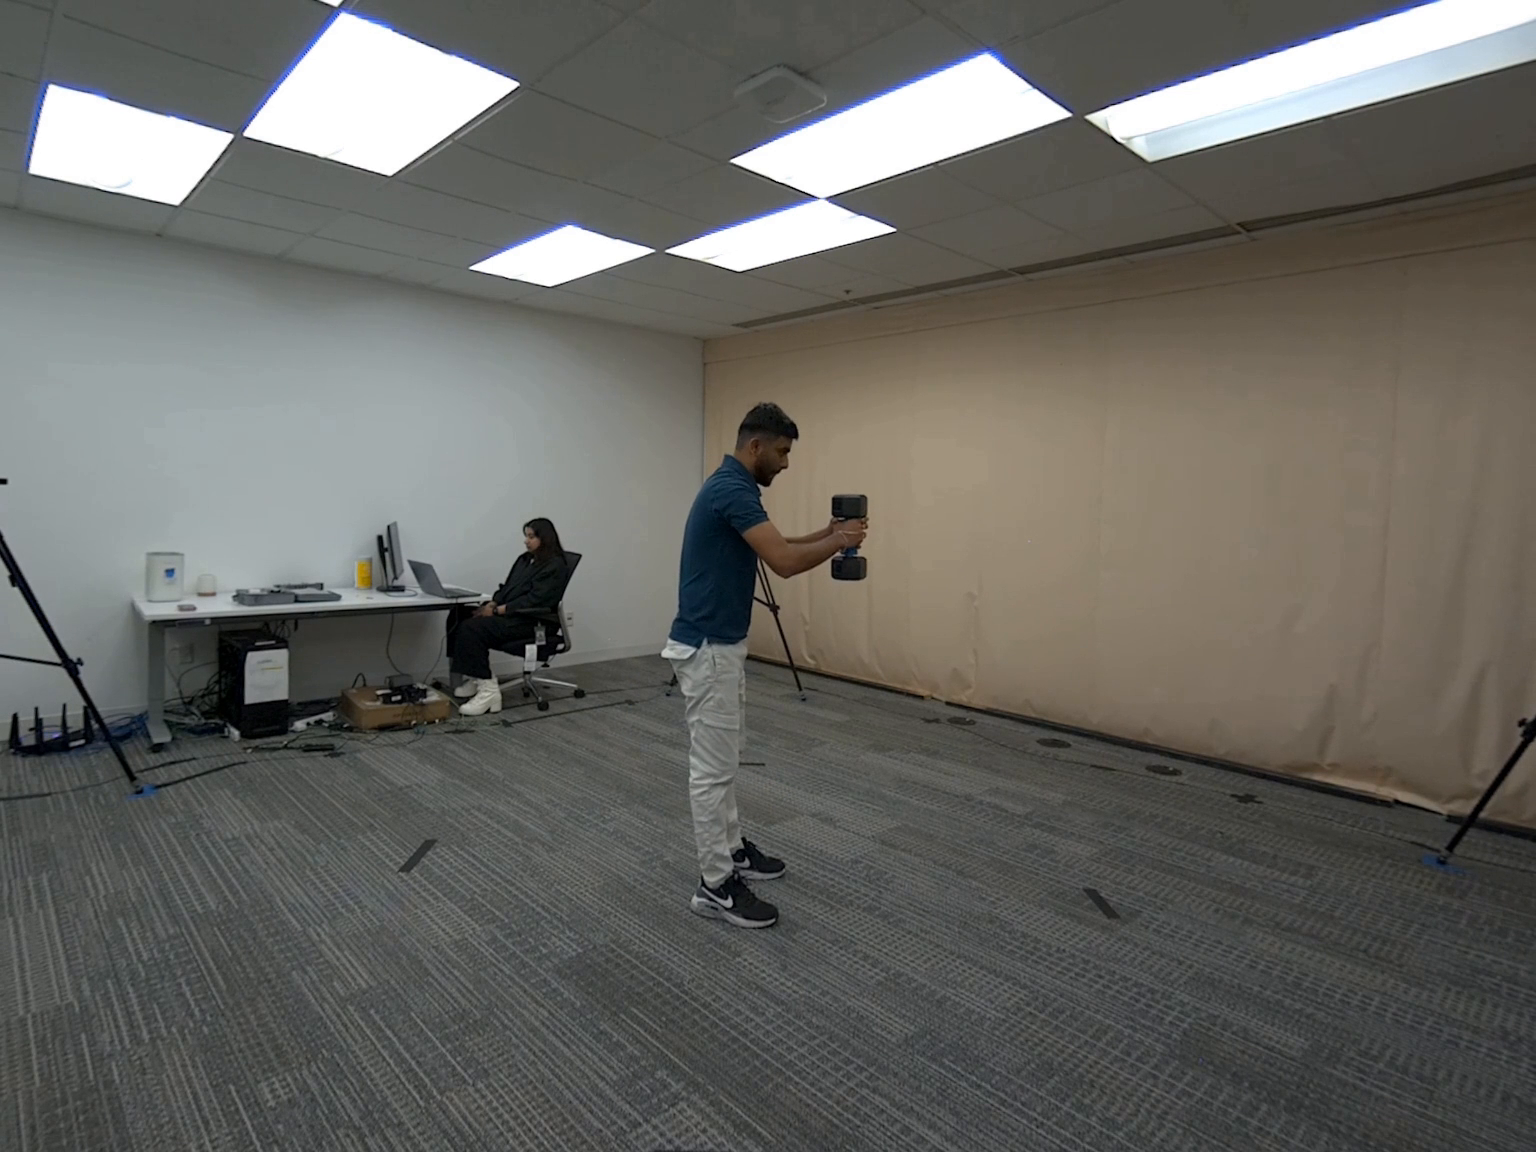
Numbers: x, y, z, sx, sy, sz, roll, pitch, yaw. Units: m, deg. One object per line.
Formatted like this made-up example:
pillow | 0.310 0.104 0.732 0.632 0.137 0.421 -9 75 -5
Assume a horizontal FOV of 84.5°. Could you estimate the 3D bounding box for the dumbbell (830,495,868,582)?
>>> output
dumbbell | 0.270 -0.134 2.882 0.111 0.292 0.121 4 6 26
